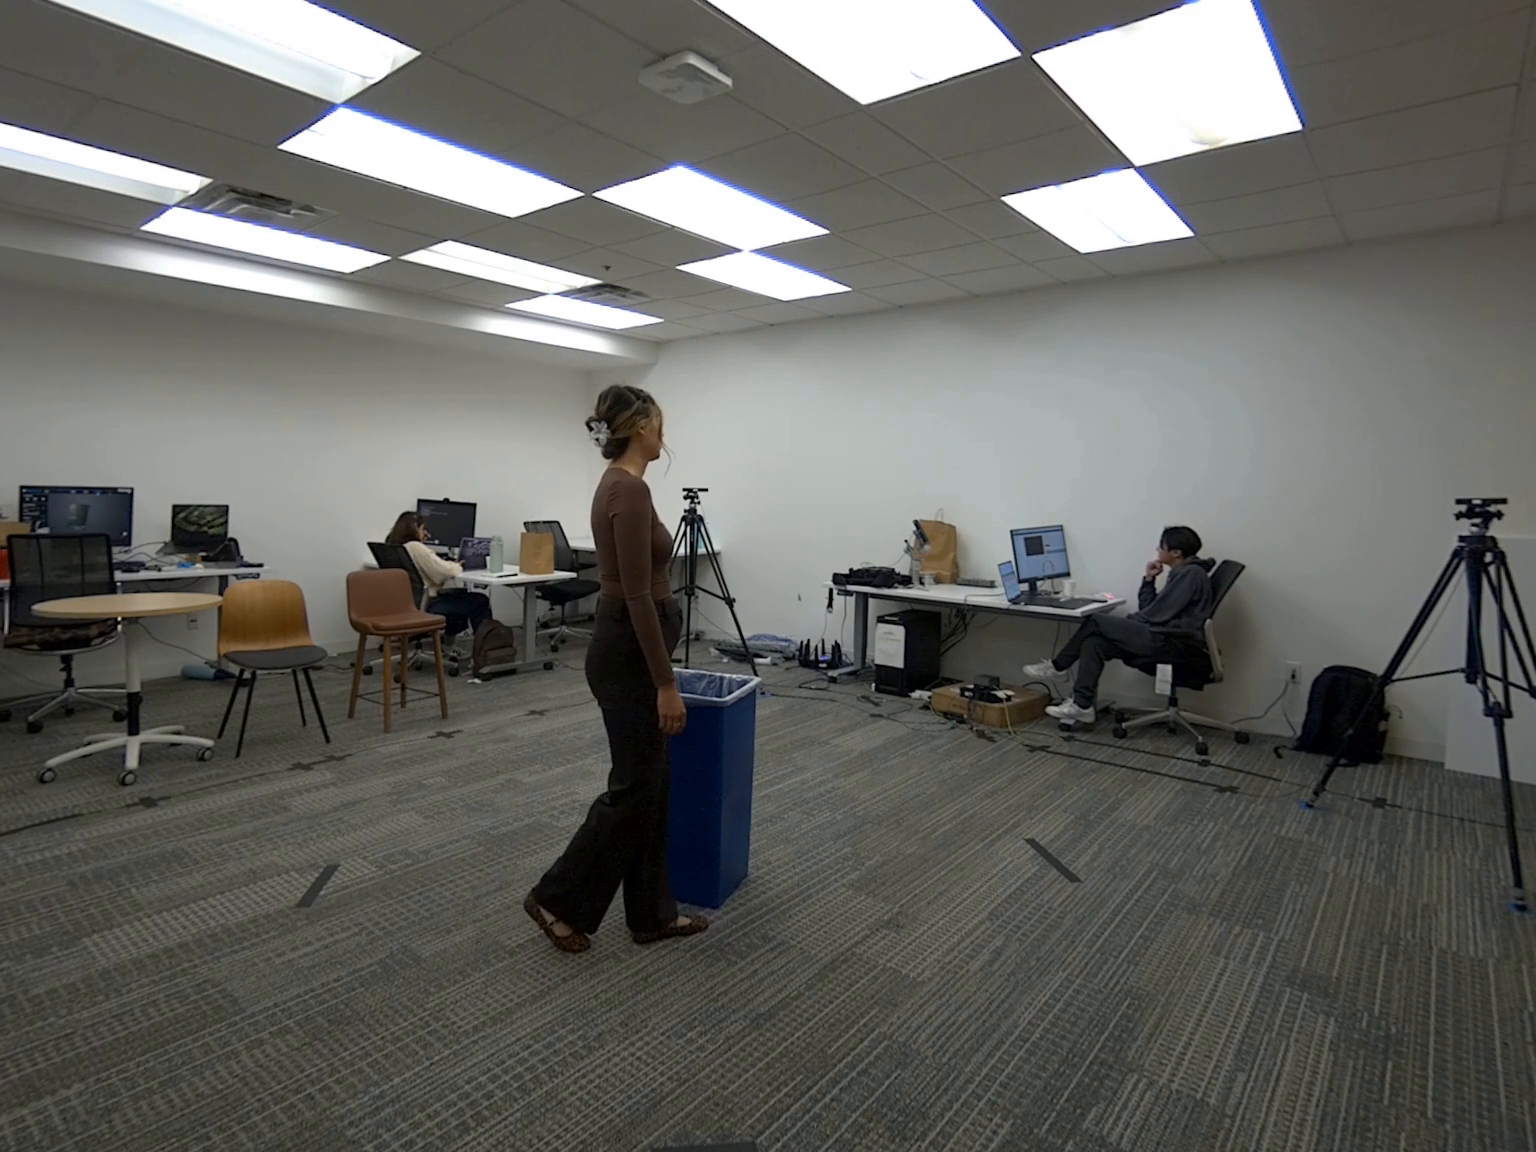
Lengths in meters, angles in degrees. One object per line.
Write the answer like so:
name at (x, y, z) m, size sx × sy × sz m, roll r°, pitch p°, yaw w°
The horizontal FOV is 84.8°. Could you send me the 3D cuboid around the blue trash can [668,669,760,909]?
blue trash can at (-0.258, 0.722, 2.979) m, size 0.387 × 0.712 × 0.367 m, roll 2°, pitch 3°, yaw 21°
